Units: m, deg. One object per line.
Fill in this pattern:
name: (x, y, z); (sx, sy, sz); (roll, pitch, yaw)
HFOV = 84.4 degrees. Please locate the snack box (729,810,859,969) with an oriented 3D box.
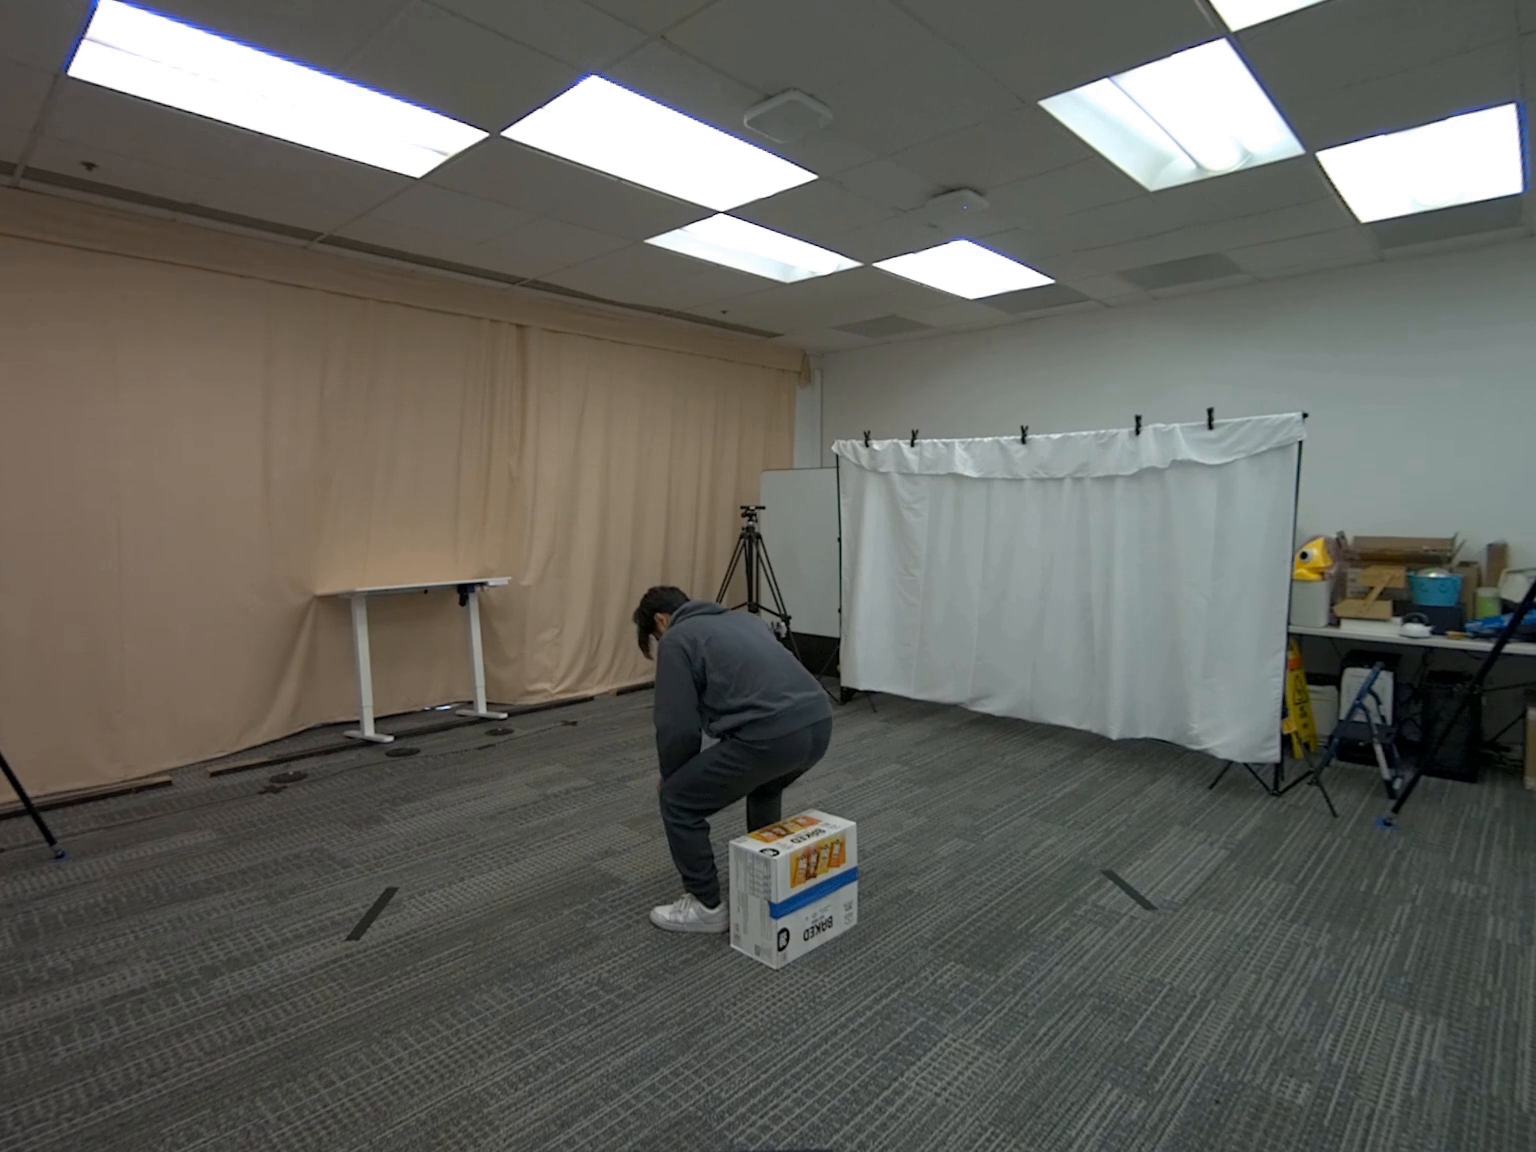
snack box: (0.092, 0.997, 2.724); (0.212, 0.340, 0.393); (1, 3, 45)
